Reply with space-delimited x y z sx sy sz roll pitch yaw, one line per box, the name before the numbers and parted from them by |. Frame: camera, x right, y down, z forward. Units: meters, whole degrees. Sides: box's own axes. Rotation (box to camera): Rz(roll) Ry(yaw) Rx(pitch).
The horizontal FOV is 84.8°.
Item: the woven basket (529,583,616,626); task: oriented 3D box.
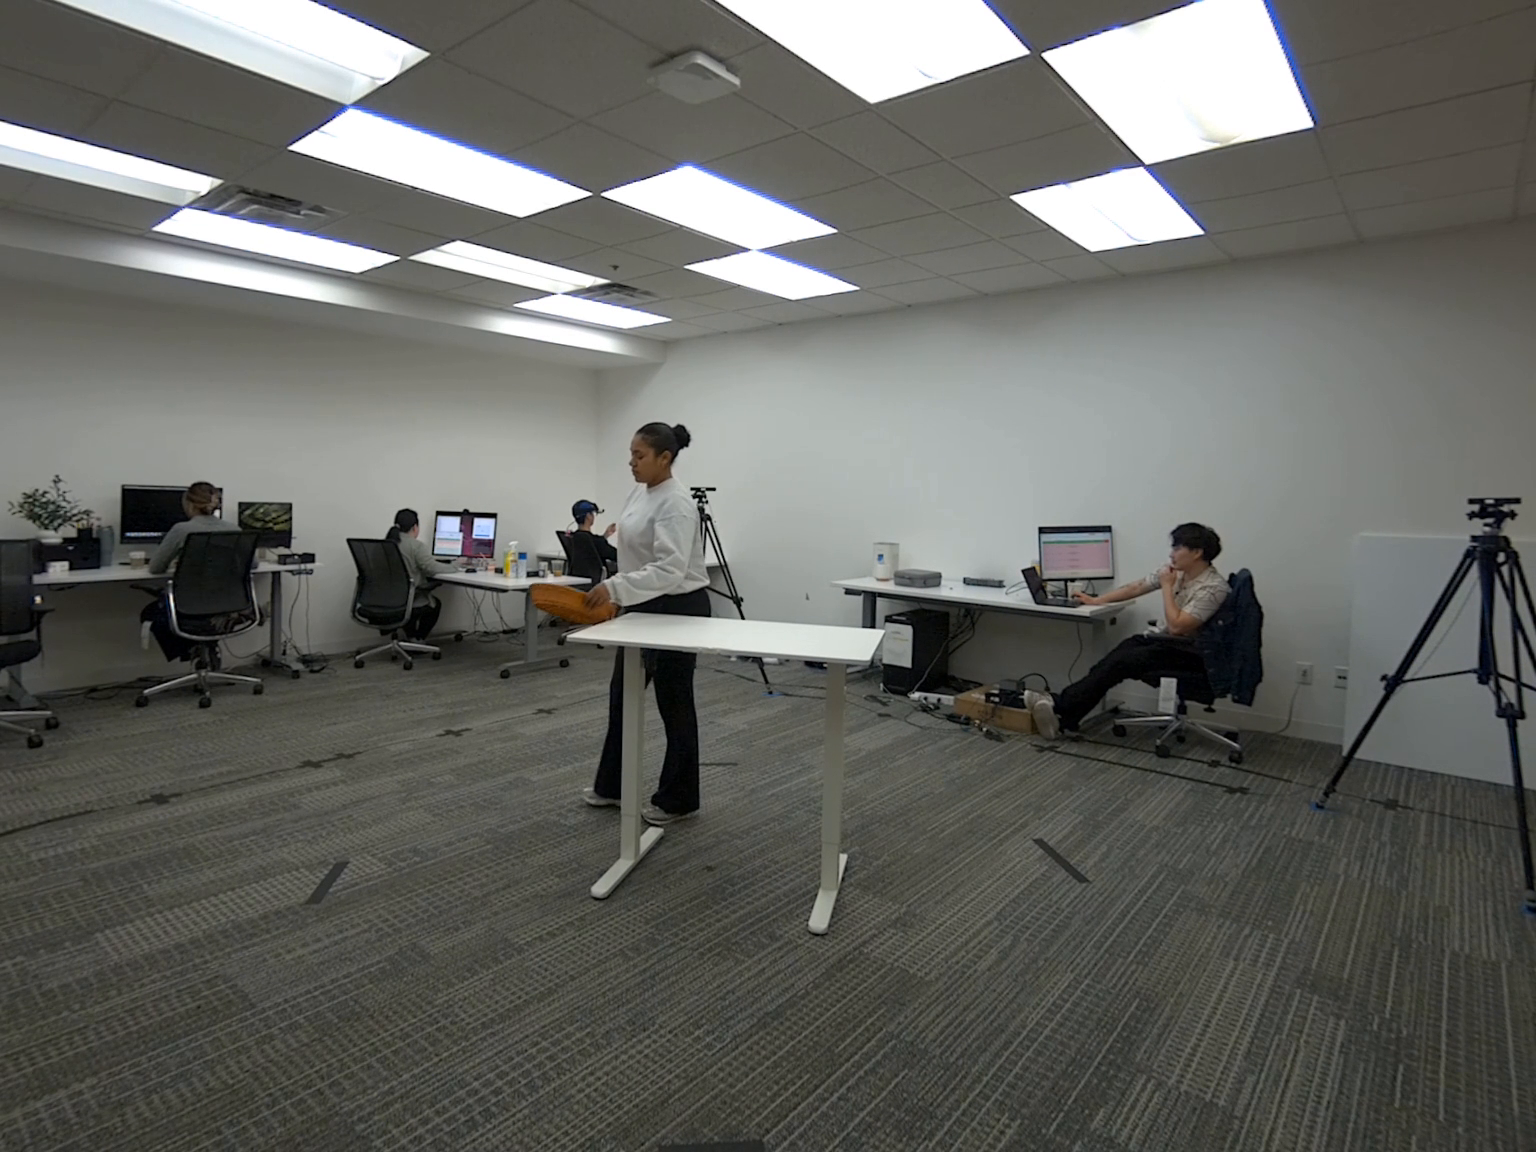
woven basket | -0.760 0.130 3.249 0.339 0.074 0.257 19 -20 -29
